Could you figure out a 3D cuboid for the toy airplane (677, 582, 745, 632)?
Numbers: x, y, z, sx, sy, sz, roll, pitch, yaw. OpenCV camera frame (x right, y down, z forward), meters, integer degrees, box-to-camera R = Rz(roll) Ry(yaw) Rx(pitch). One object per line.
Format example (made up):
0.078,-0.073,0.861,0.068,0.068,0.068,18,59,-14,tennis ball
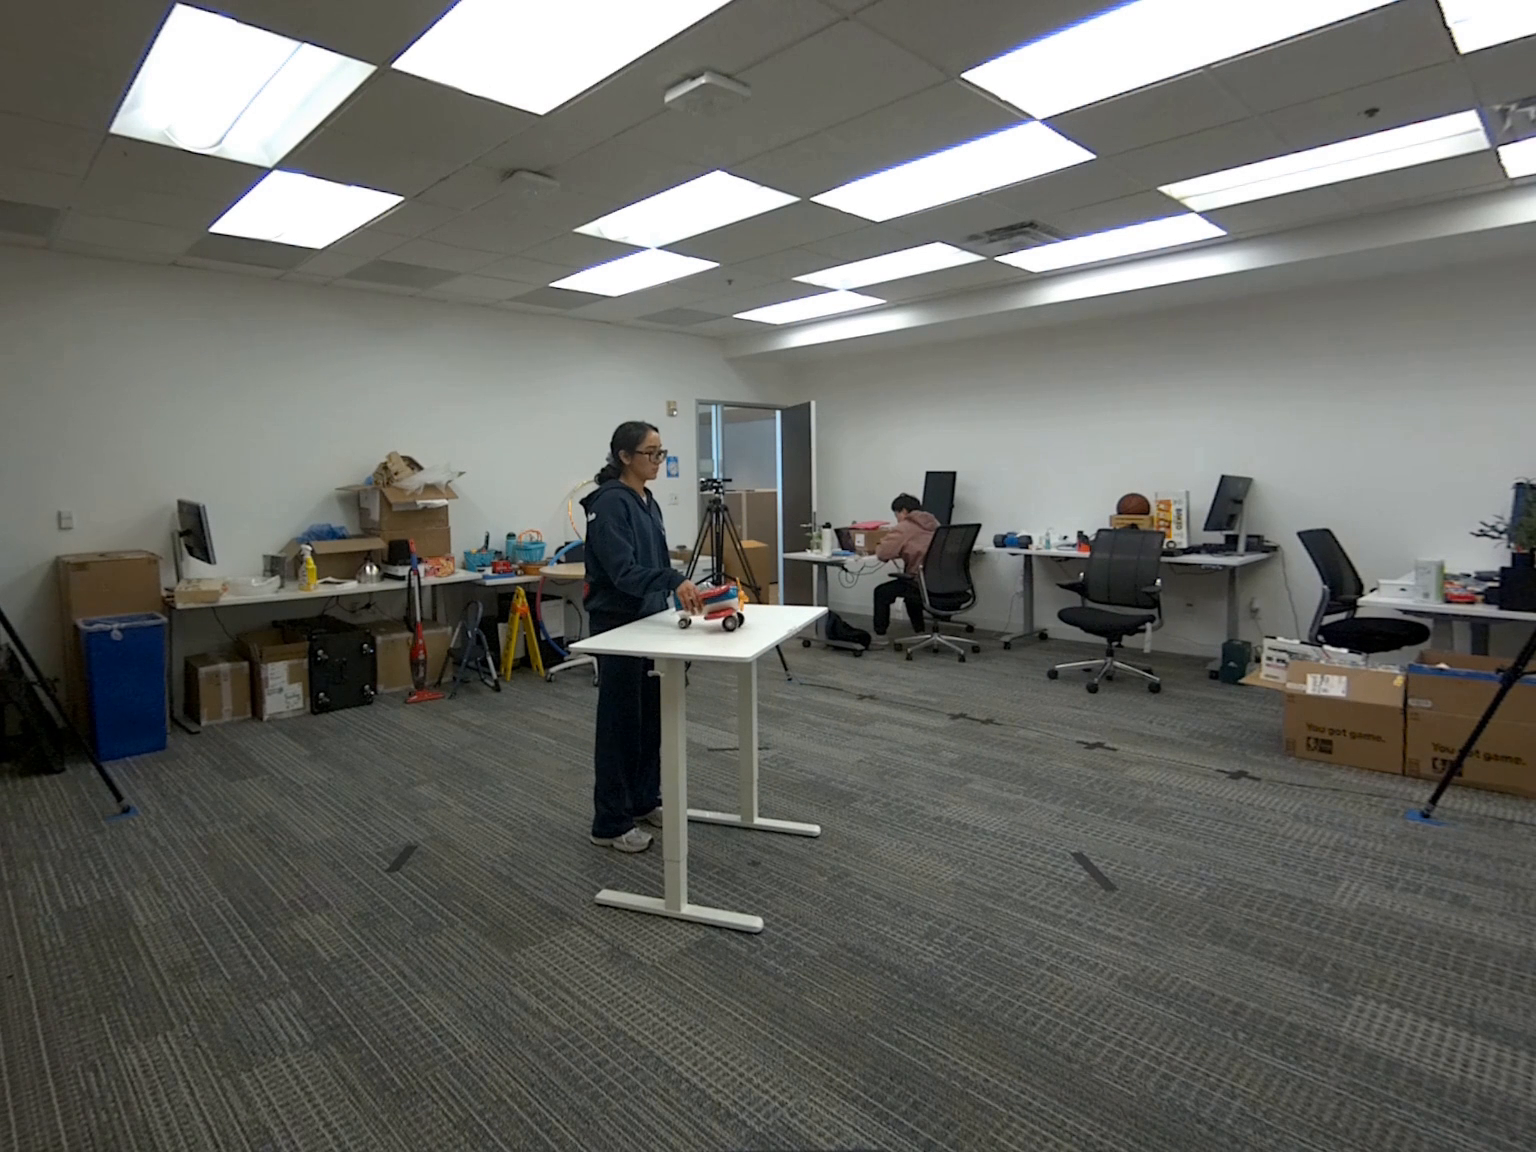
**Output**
-0.201,0.108,2.932,0.256,0.156,0.255,-1,5,-15,toy airplane
